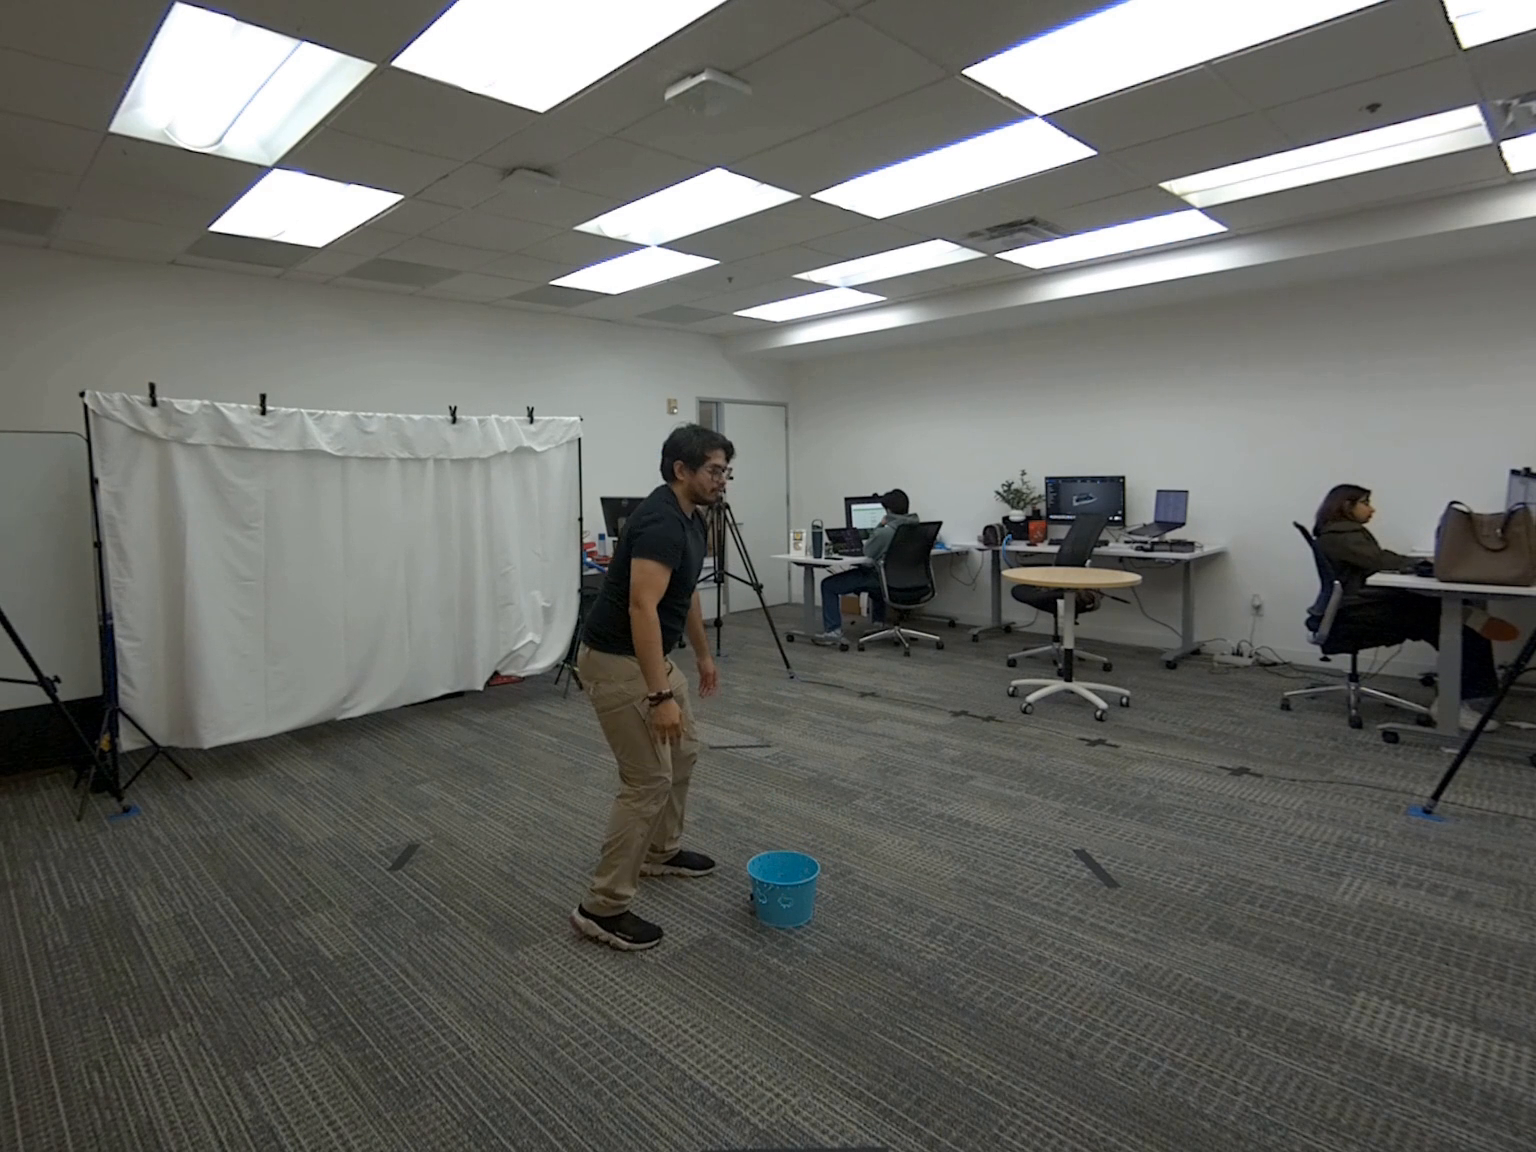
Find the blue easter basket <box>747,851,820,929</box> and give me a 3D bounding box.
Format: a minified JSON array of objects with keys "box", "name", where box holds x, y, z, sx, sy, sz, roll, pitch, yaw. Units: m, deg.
[{"box":[0.054,1.005,2.731,0.243,0.155,0.245,-2,6,-2],"name":"blue easter basket"}]
